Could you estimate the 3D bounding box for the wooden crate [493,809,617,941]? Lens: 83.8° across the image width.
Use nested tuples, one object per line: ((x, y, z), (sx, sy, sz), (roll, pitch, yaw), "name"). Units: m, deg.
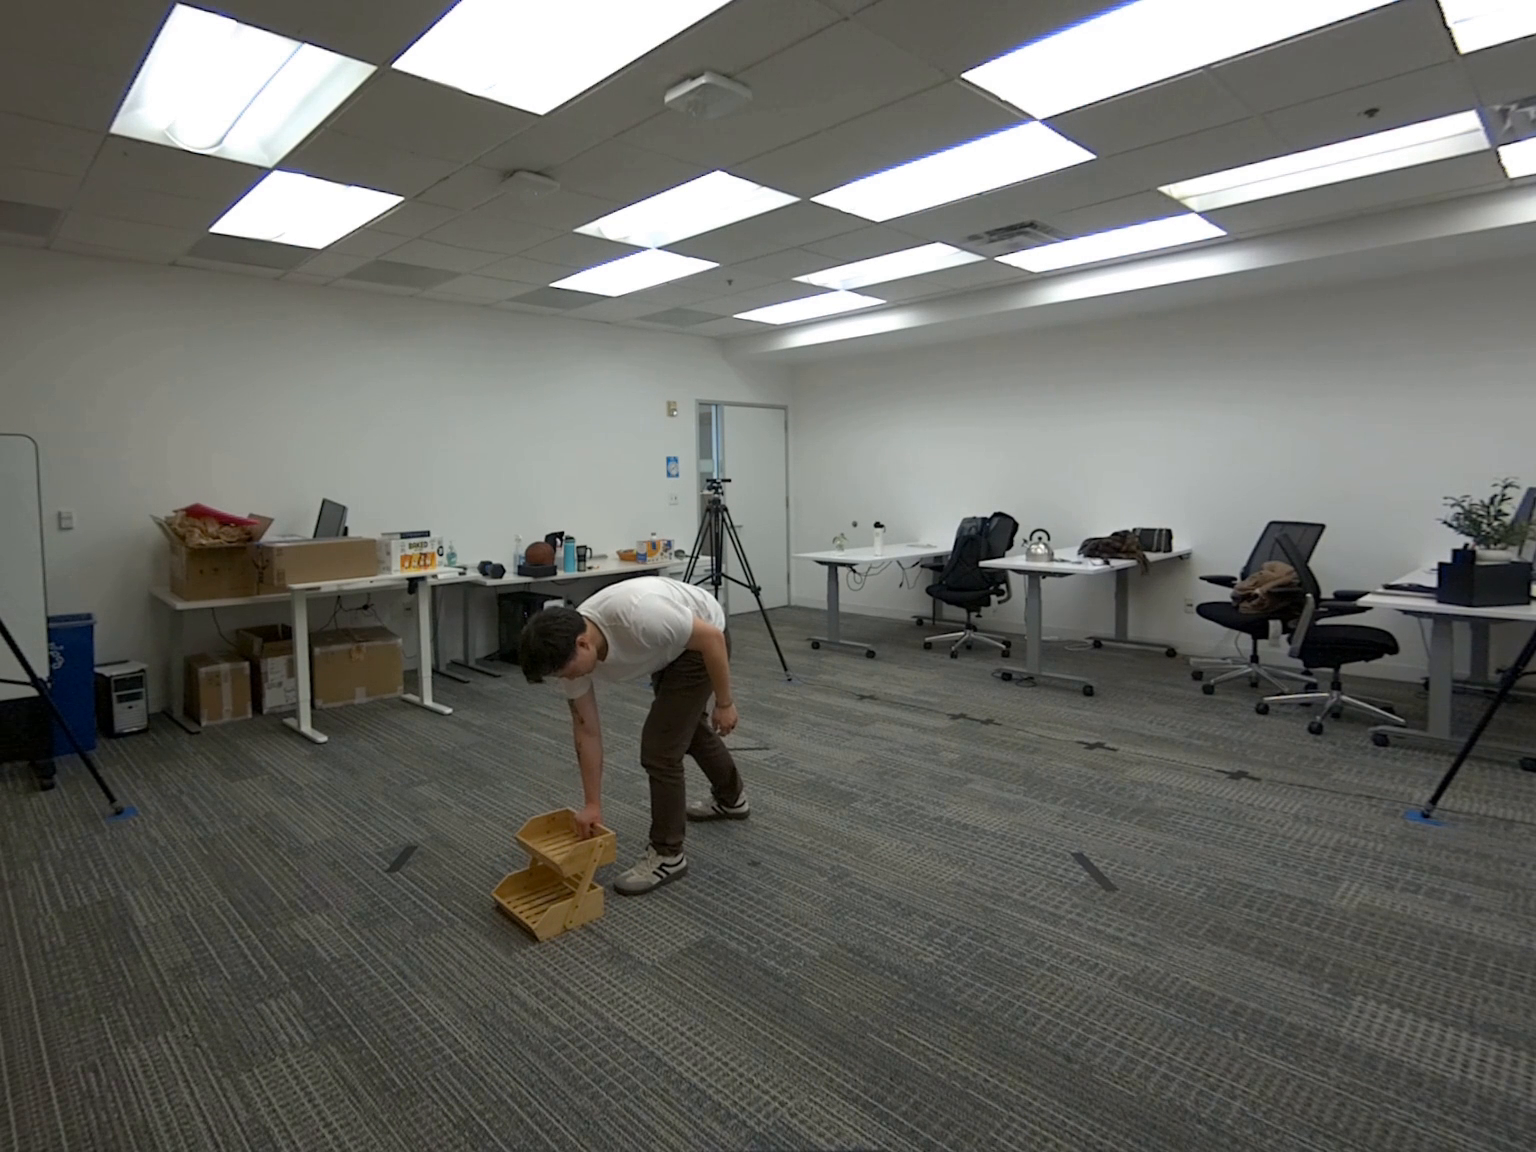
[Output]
((-0.706, 0.962, 2.795), (0.294, 0.272, 0.334), (-5, 6, -42), "wooden crate")
